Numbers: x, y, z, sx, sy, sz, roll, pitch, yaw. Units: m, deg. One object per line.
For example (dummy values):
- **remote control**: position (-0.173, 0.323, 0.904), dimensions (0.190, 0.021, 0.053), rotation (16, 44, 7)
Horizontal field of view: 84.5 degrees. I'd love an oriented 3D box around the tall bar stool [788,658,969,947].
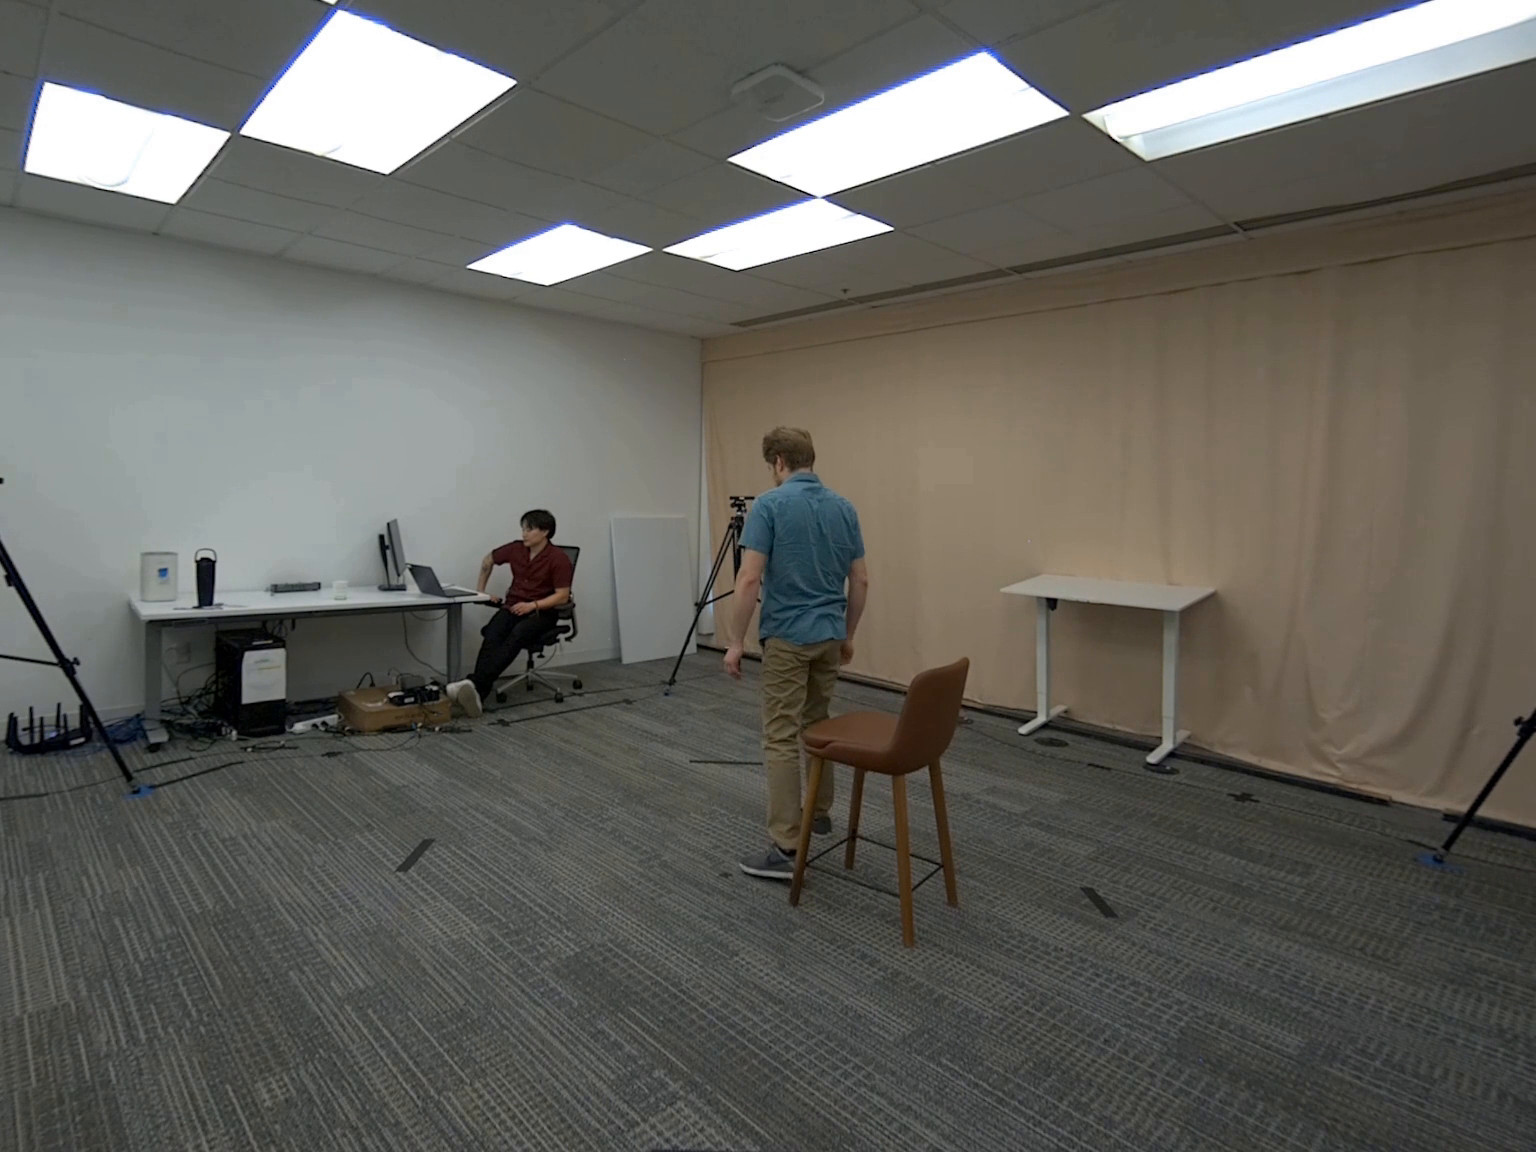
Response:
- **tall bar stool**: position (0.380, 0.702, 2.878), dimensions (0.479, 0.886, 0.447), rotation (6, 6, 36)
